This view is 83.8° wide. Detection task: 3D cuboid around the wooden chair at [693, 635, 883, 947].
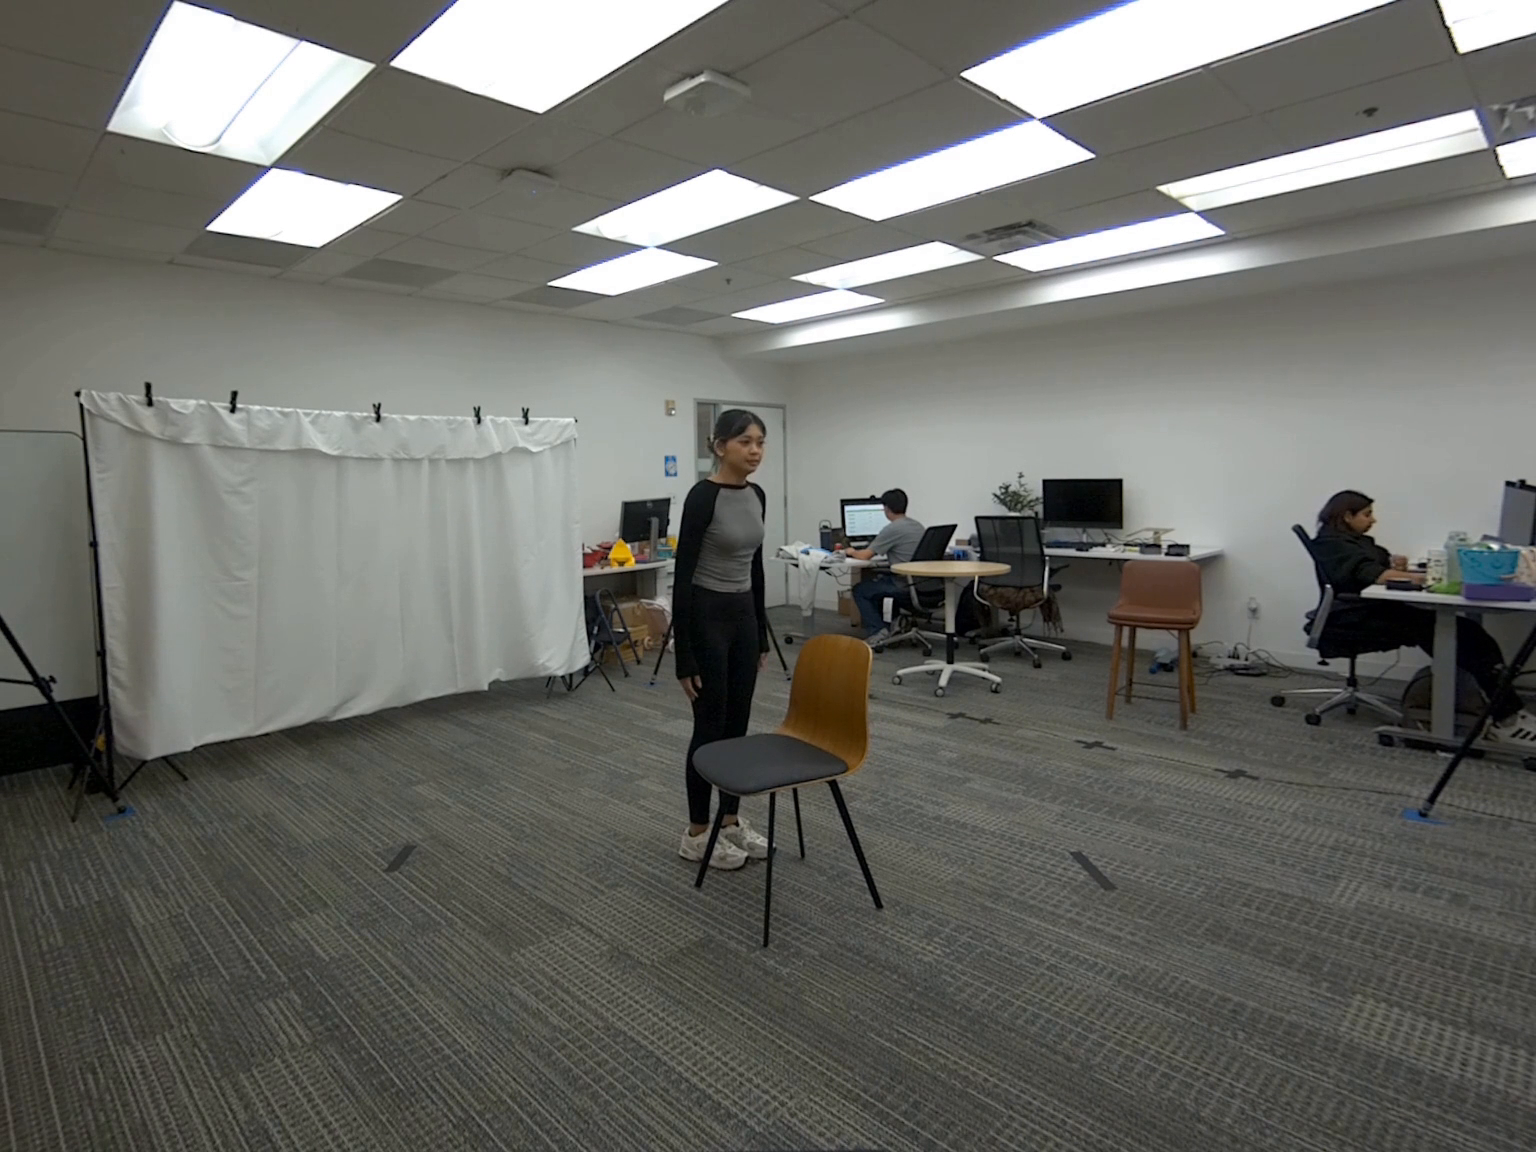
[{"bbox_3d":[0.052,0.648,2.799,0.509,0.875,0.492,1,3,-32],"label":"wooden chair"}]
